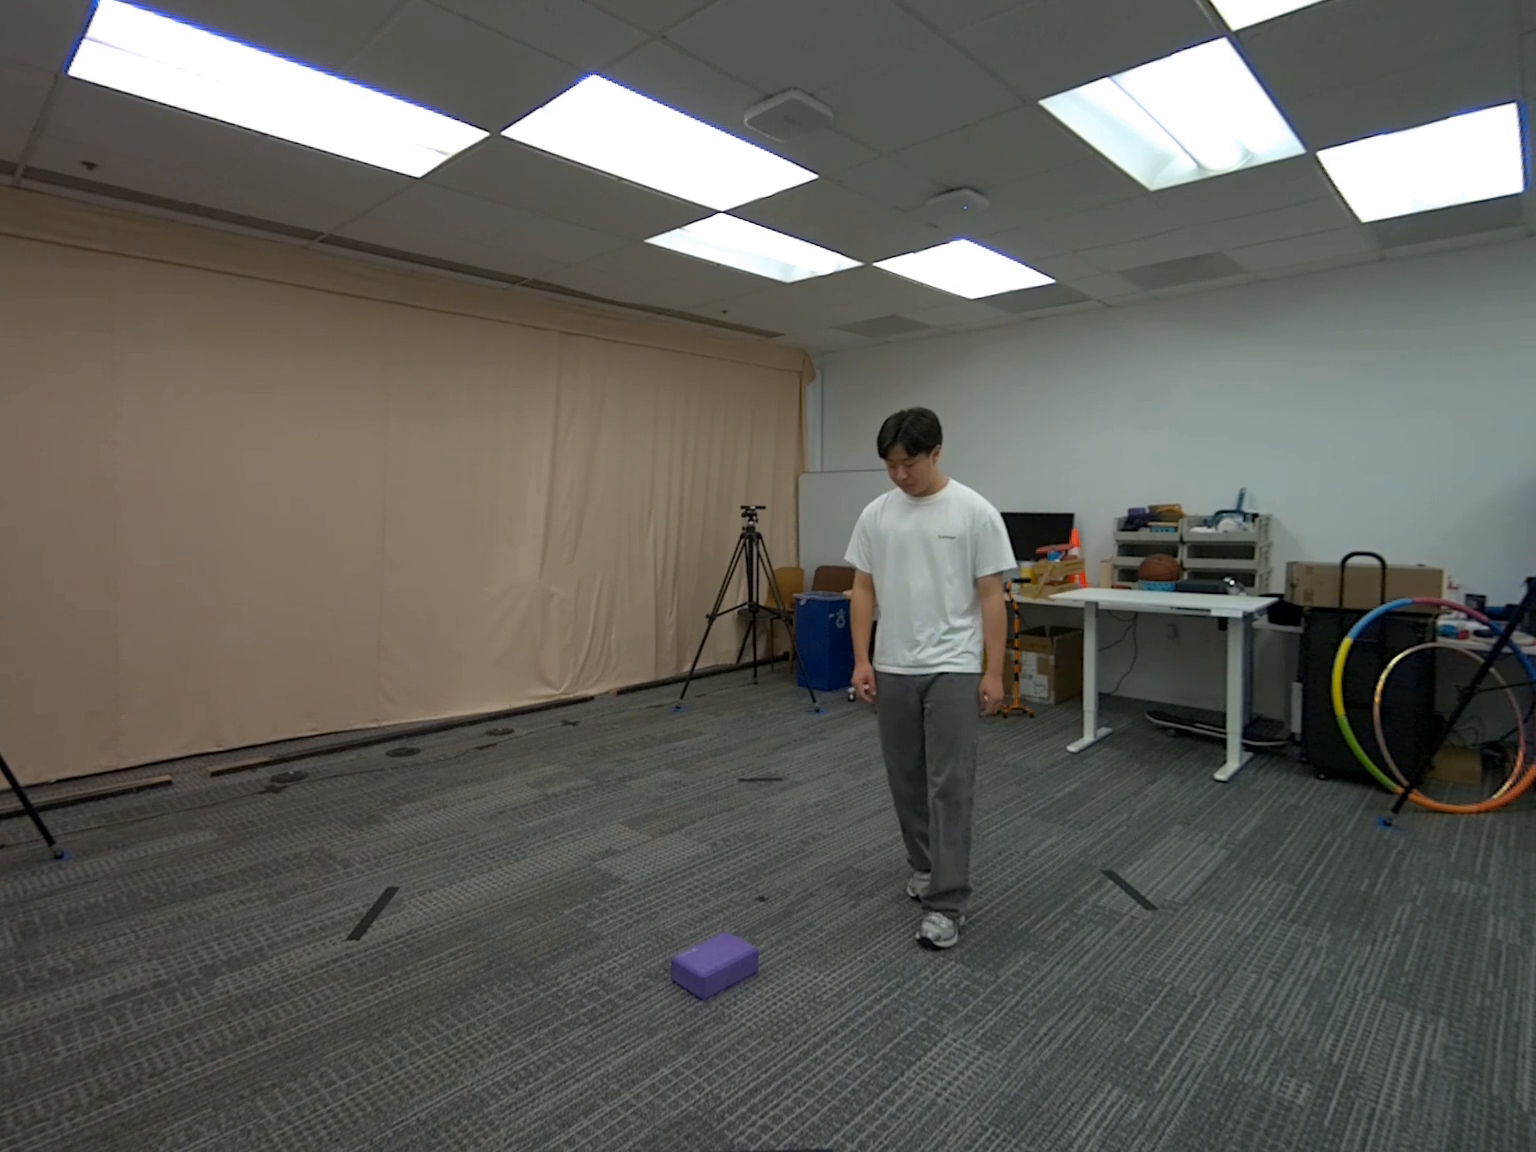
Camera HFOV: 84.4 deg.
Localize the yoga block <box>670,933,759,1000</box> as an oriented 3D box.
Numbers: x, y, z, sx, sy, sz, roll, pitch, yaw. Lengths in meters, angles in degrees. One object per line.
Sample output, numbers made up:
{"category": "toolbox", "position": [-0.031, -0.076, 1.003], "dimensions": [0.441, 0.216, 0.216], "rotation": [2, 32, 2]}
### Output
{"category": "yoga block", "position": [-0.148, 1.150, 2.484], "dimensions": [0.222, 0.076, 0.154], "rotation": [-5, 6, -44]}
